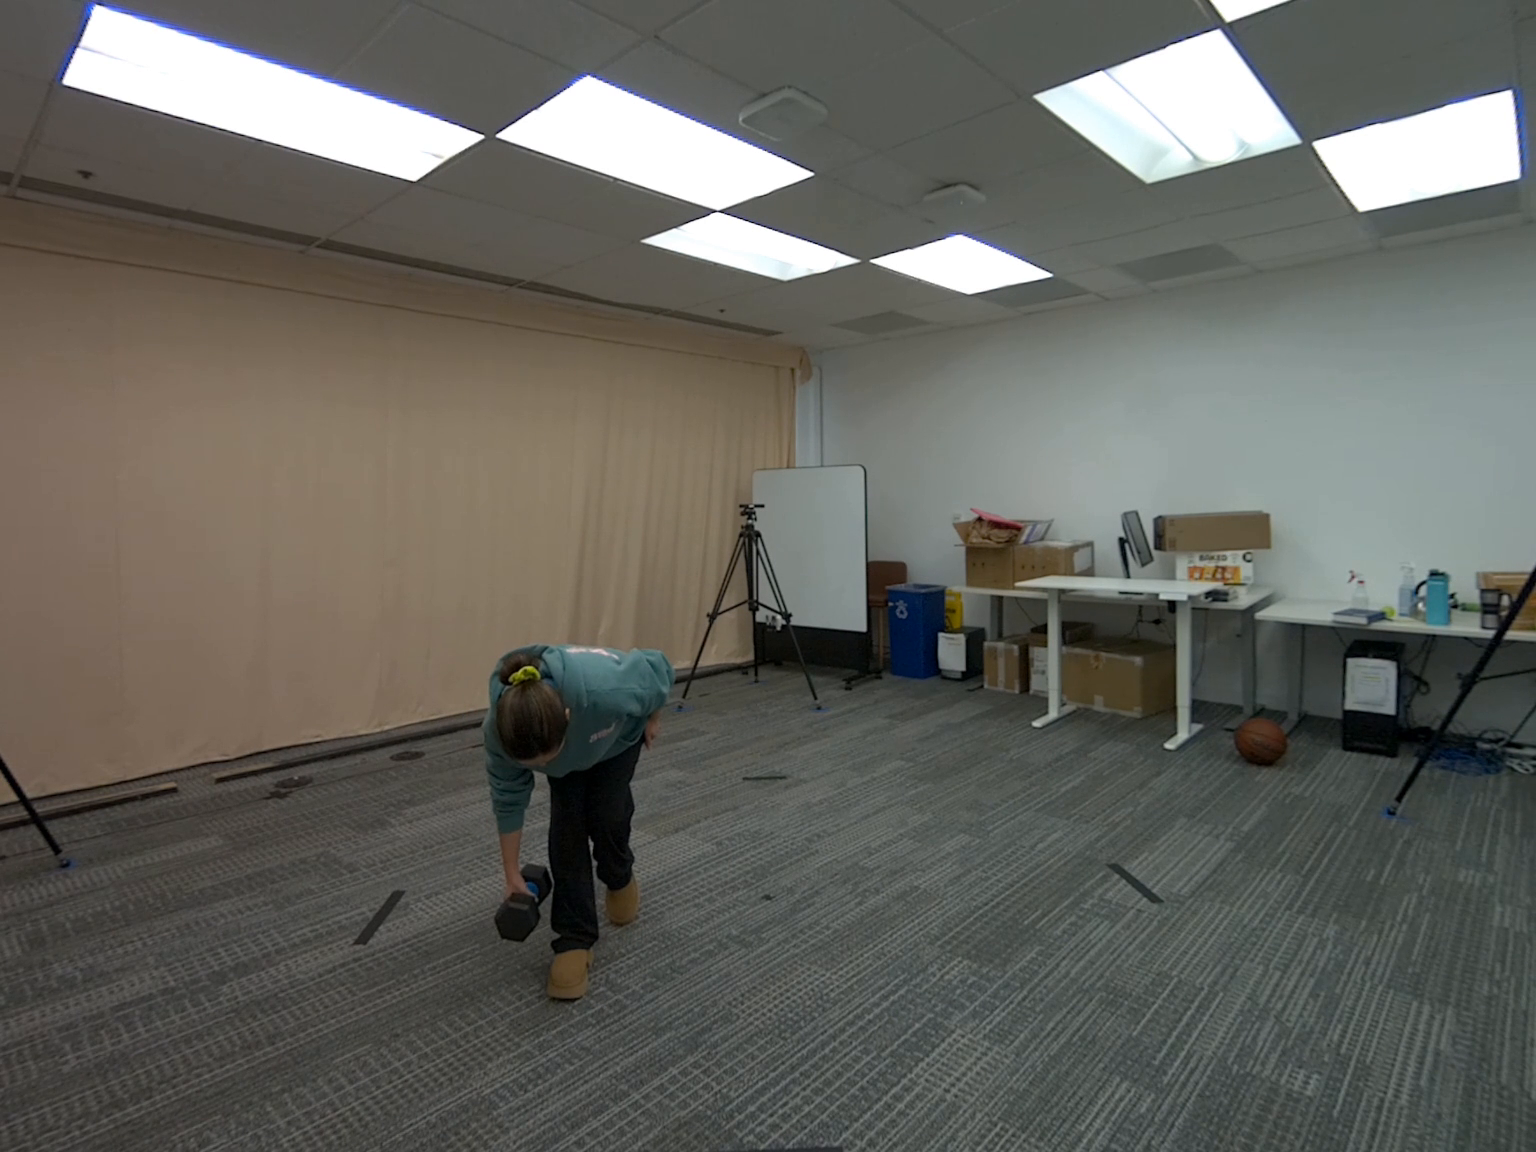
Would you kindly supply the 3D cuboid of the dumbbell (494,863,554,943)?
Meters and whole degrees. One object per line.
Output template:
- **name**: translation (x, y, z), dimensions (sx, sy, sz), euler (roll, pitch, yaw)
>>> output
- **dumbbell**: translation (-0.705, 0.942, 2.451), dimensions (0.108, 0.123, 0.295), euler (-19, 3, -5)
